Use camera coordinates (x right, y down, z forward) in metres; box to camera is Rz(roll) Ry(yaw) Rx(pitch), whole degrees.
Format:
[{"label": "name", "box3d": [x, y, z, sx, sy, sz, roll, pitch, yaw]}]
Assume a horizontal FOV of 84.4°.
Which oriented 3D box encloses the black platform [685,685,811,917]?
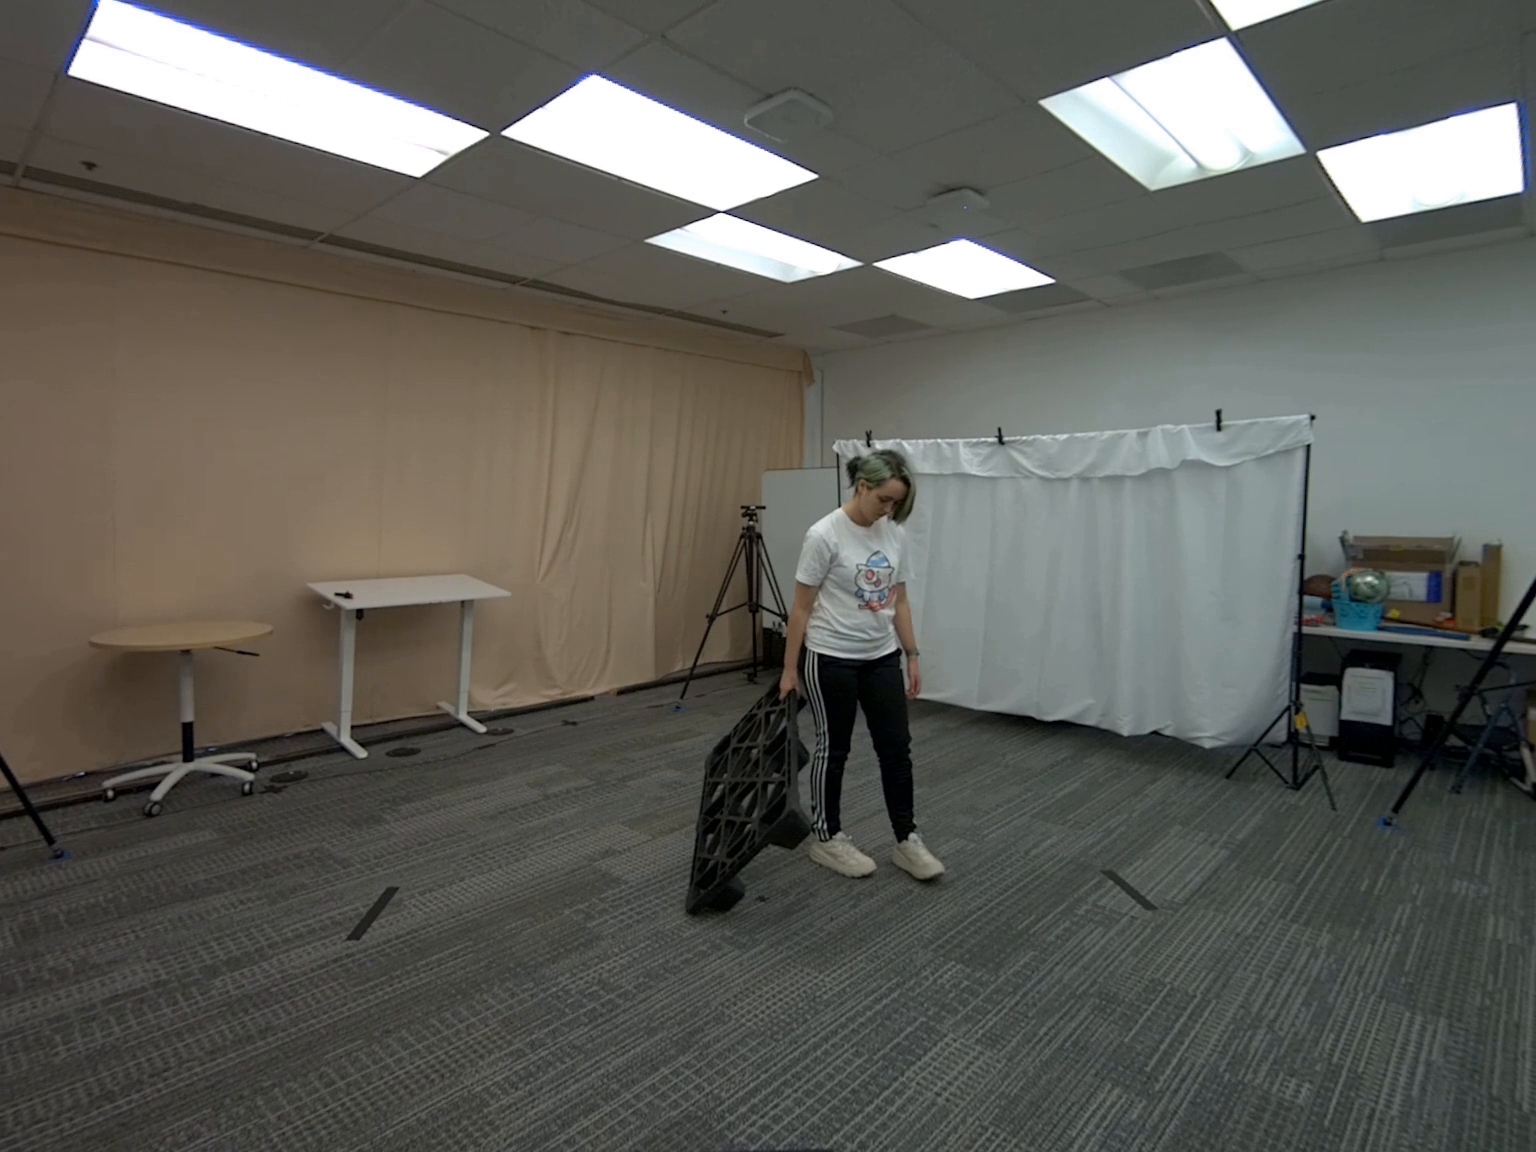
[{"label": "black platform", "box3d": [-0.042, 0.780, 3.099, 0.141, 0.607, 0.815, 33, 24, -14]}]
